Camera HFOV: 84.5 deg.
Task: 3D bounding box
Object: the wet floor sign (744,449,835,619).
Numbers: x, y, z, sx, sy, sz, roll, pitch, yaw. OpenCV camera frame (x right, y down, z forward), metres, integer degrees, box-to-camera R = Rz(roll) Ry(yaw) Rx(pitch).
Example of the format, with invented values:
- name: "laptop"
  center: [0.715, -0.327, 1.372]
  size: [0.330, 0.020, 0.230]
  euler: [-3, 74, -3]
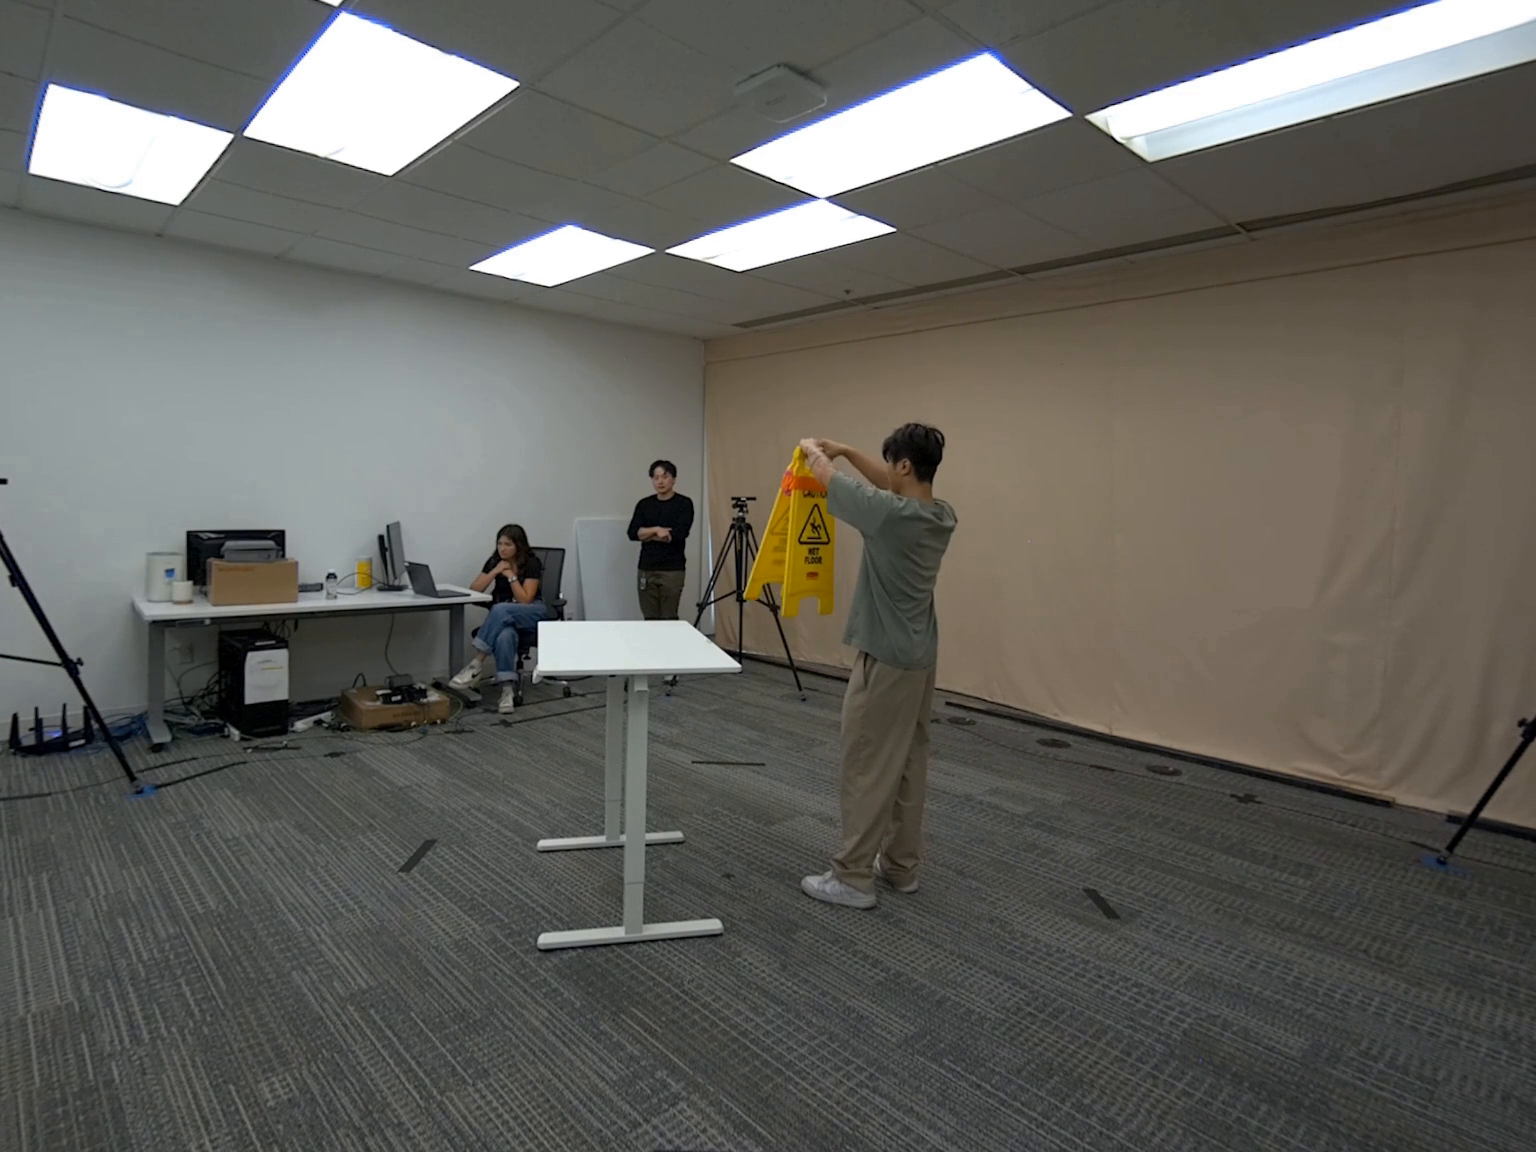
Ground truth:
- name: "wet floor sign"
  center: [0.128, -0.178, 3.347]
  size: [0.276, 0.642, 0.298]
  euler: [-1, 13, -42]
